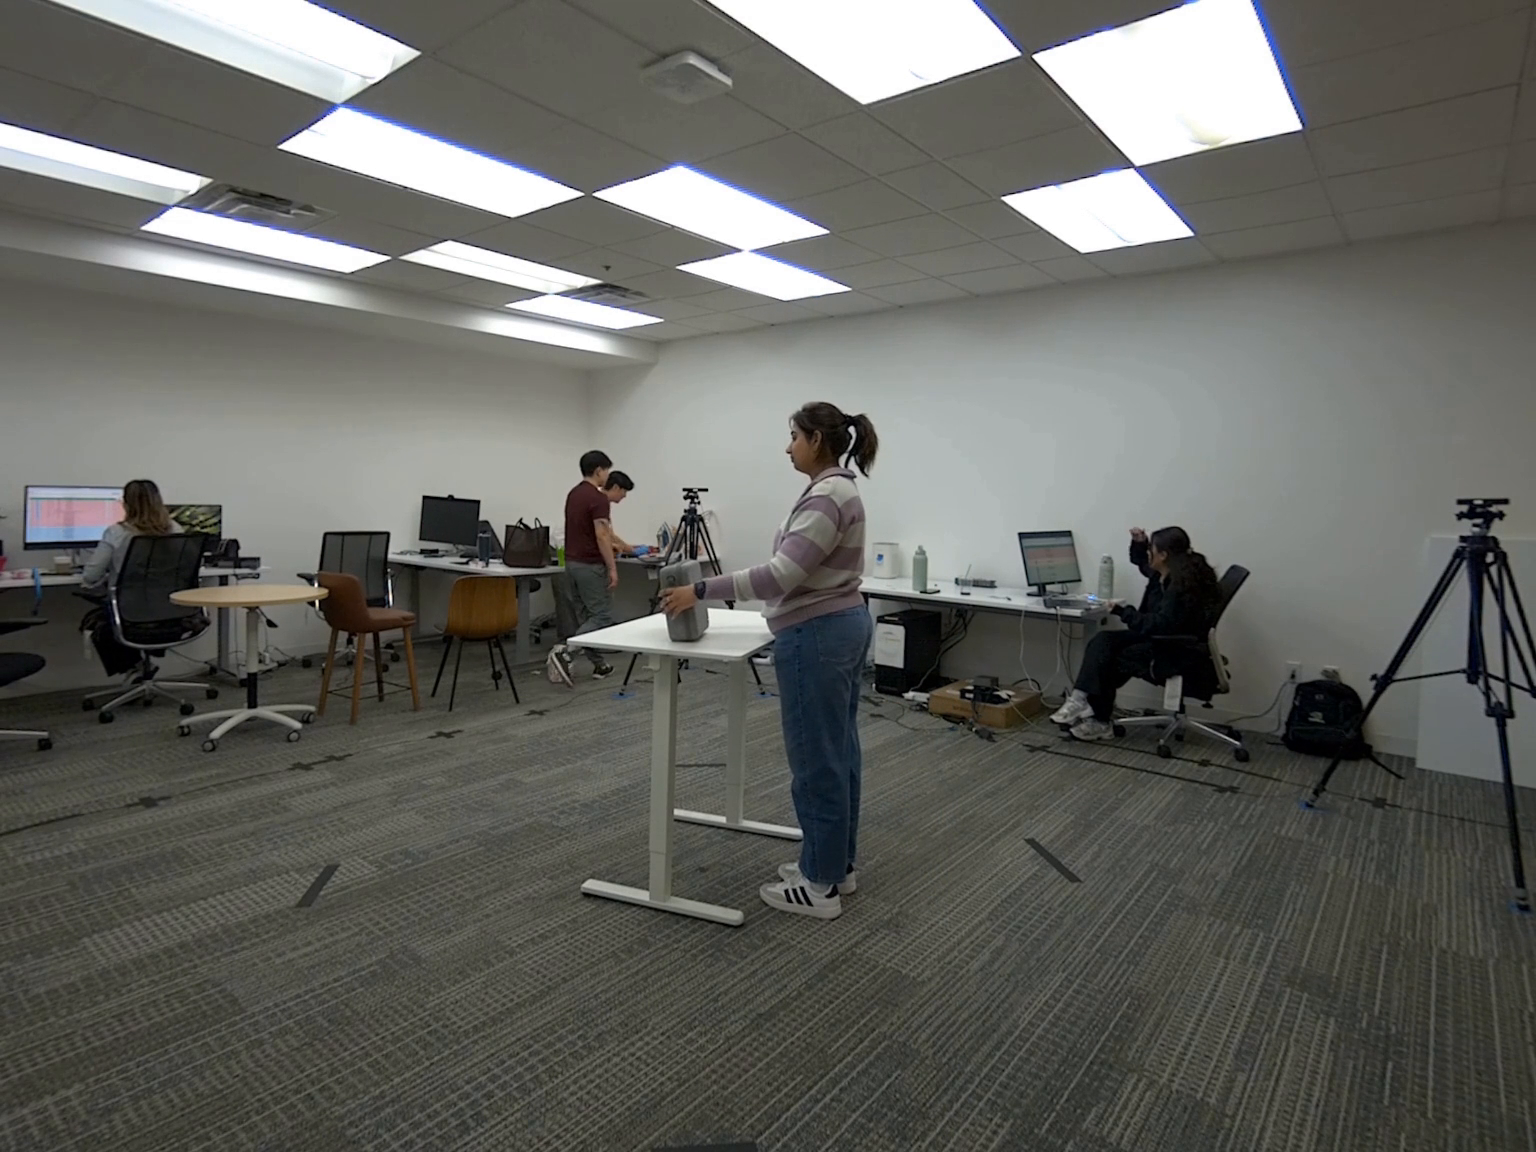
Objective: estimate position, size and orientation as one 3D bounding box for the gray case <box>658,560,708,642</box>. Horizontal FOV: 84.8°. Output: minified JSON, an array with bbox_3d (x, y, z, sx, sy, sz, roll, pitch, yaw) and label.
[{"bbox_3d":[-0.290,0.078,2.884,0.105,0.260,0.256,-10,4,5],"label":"gray case"}]
